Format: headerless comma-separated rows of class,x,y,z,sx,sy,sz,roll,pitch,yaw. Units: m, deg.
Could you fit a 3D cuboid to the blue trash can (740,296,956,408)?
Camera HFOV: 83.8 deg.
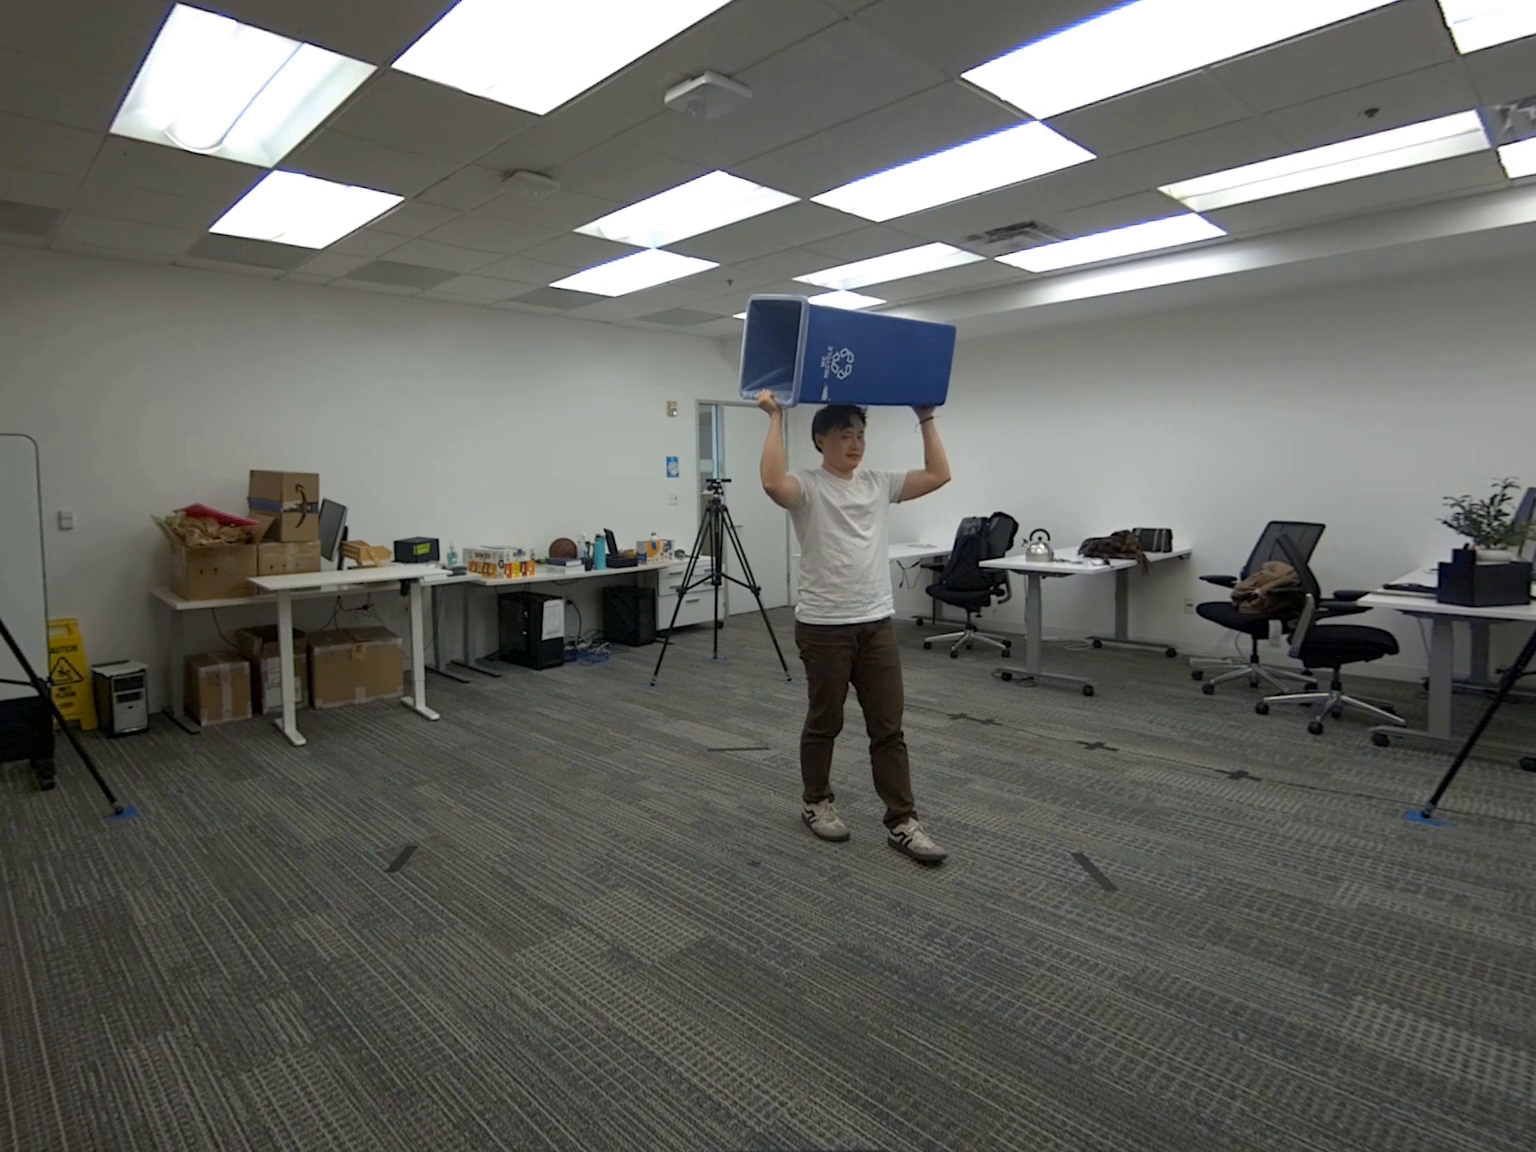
blue trash can,0.307,-0.810,3.129,0.697,0.374,0.387,-3,17,-30
